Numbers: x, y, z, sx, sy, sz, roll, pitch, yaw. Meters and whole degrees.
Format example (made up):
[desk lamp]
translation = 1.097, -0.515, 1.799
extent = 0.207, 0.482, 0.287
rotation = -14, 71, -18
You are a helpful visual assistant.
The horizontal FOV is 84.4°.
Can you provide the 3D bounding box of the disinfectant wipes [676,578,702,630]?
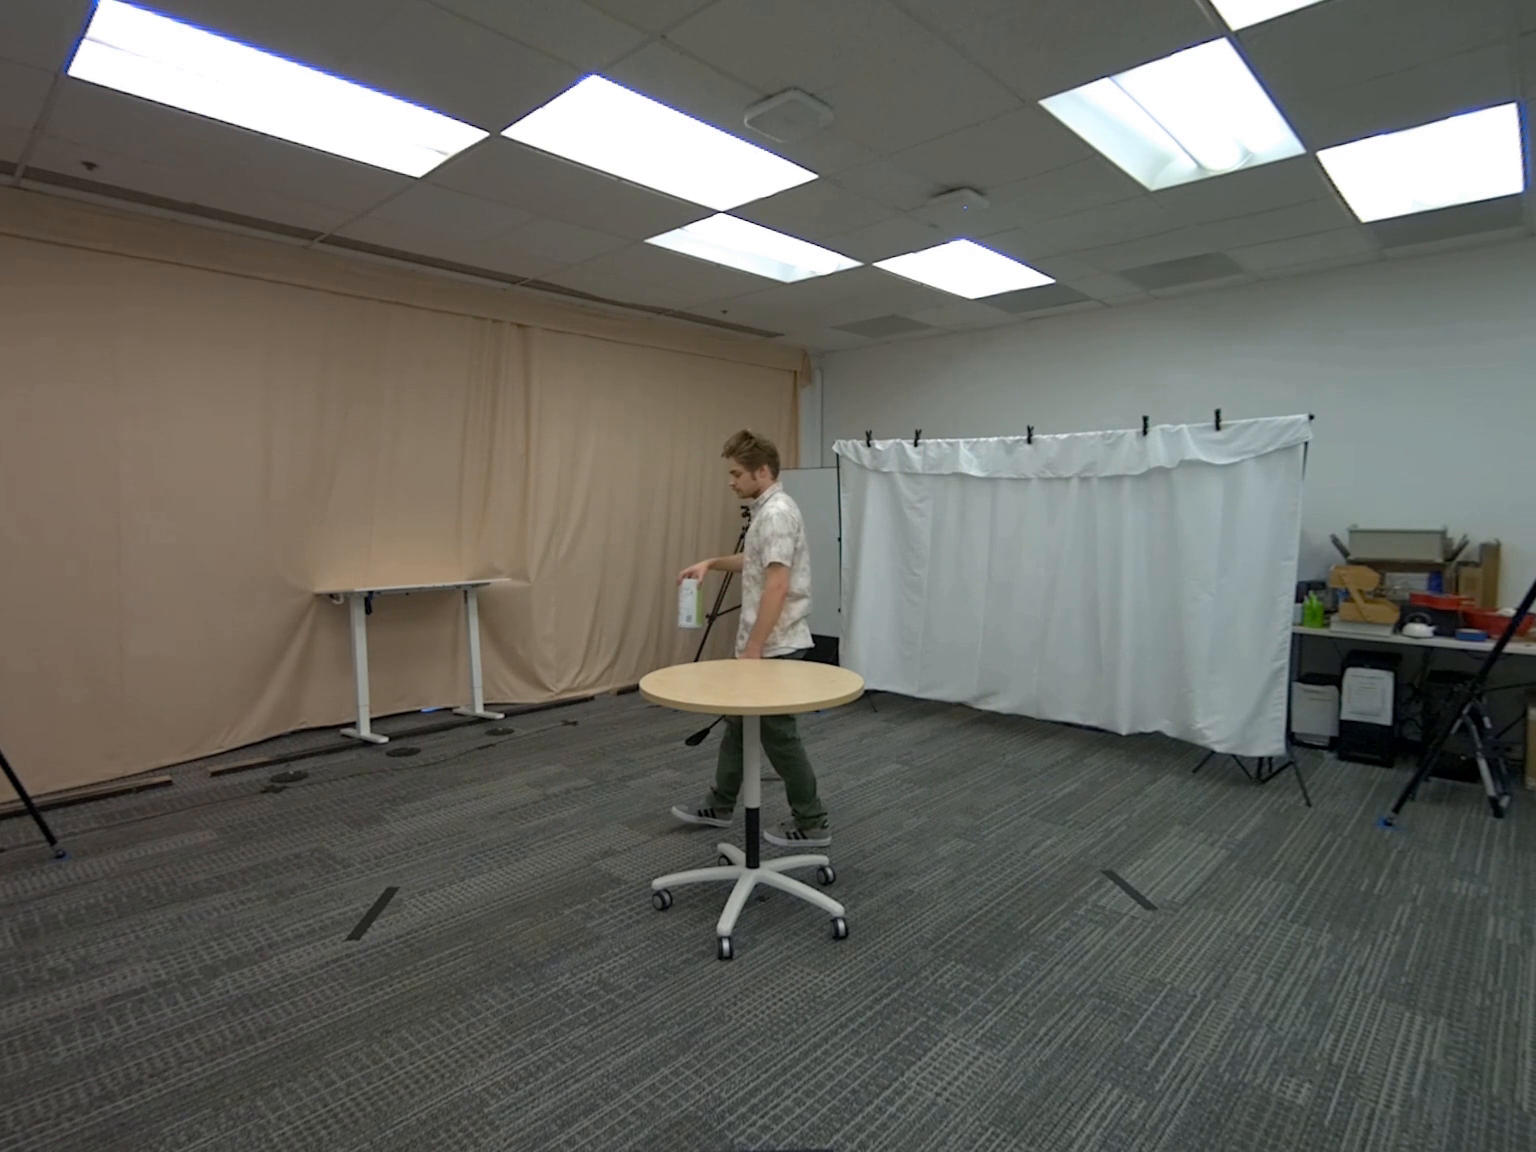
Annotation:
[disinfectant wipes]
translation = -0.338, 0.124, 3.705
extent = 0.118, 0.218, 0.118
rotation = 2, -2, -2
